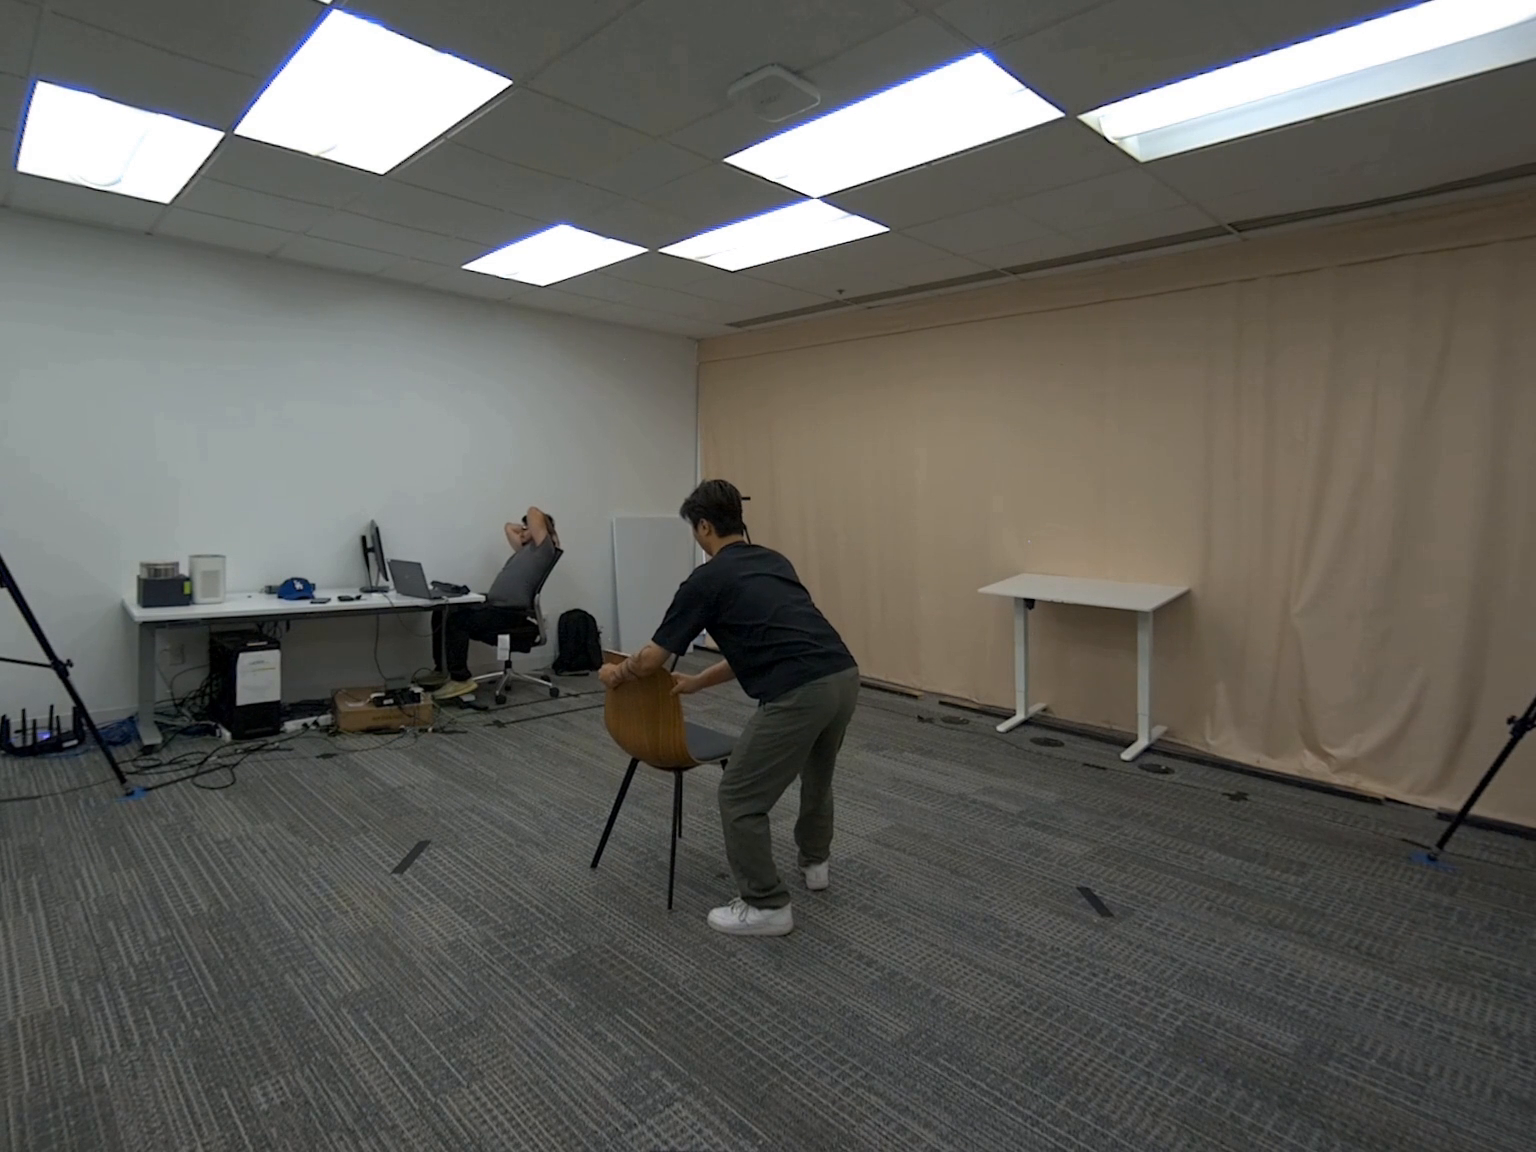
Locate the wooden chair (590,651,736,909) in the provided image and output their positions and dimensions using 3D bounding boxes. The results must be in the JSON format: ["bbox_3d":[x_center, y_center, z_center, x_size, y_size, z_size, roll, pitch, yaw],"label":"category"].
[{"bbox_3d":[-0.334,0.669,3.126,0.490,0.873,0.512,4,8,43],"label":"wooden chair"}]
